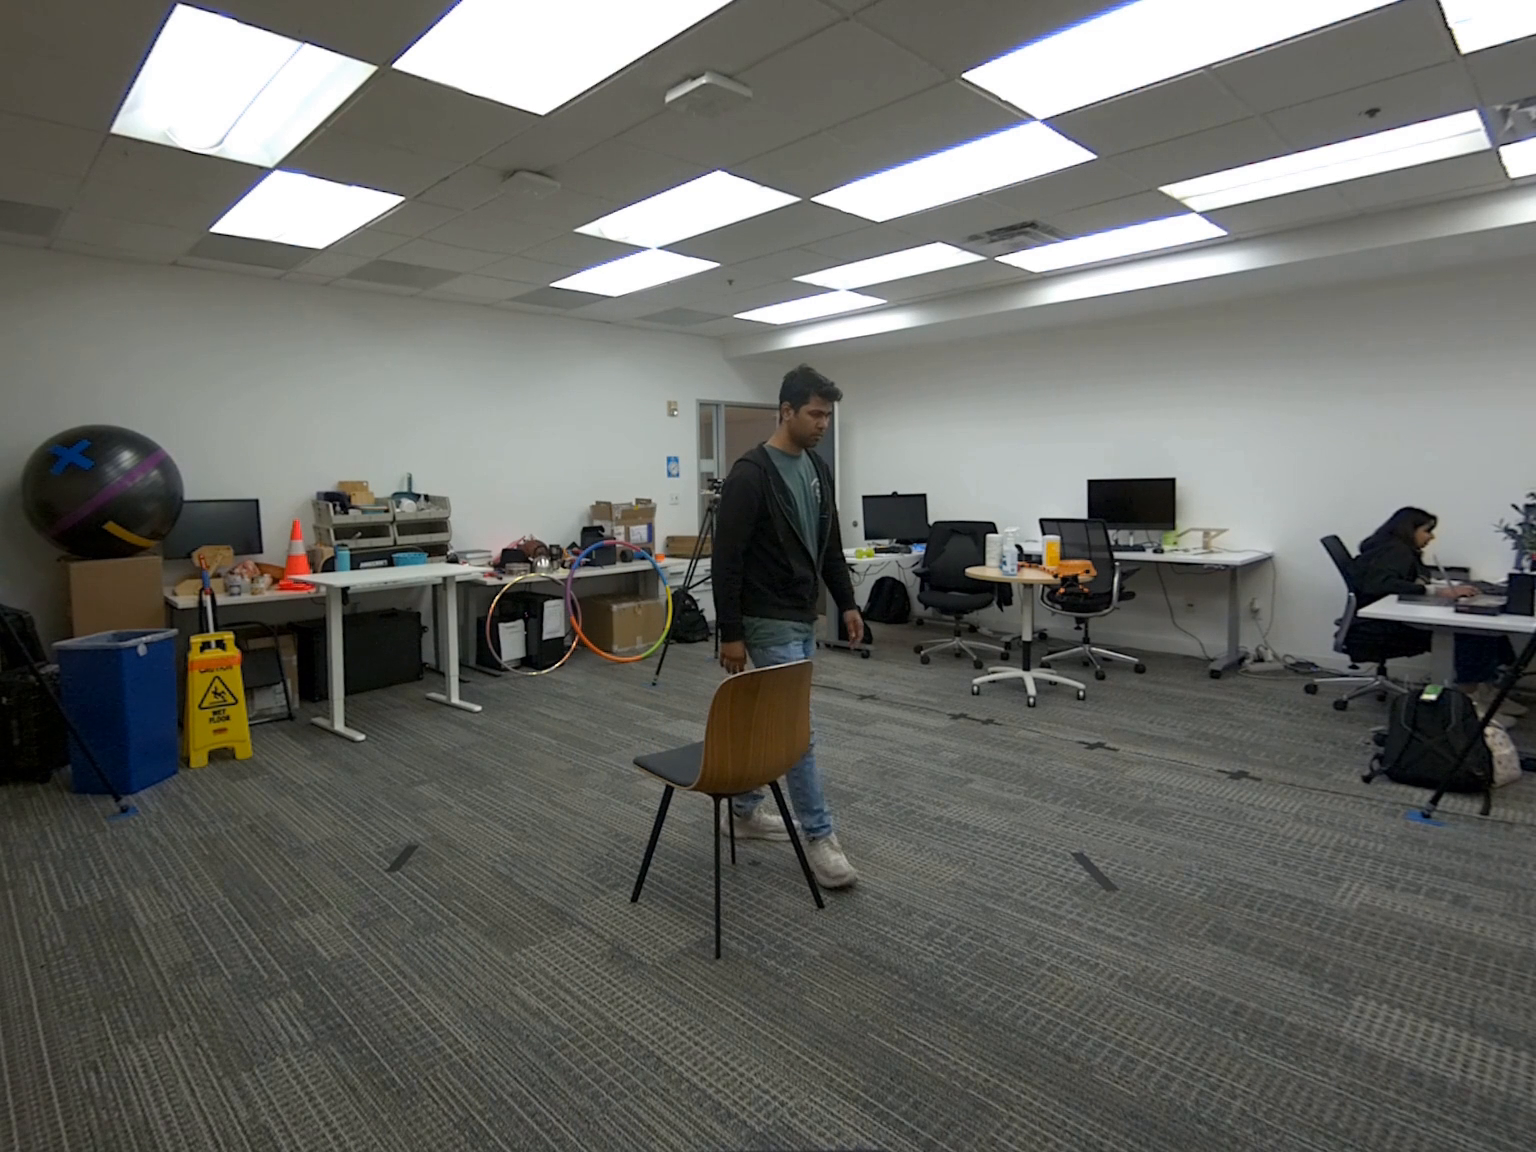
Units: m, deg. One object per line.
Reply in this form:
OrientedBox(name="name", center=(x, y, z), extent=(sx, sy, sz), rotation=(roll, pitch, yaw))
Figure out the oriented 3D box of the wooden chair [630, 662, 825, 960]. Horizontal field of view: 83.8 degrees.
OrientedBox(name="wooden chair", center=(-0.144, 0.658, 2.773), extent=(0.466, 0.871, 0.541), rotation=(-6, 11, -41))
